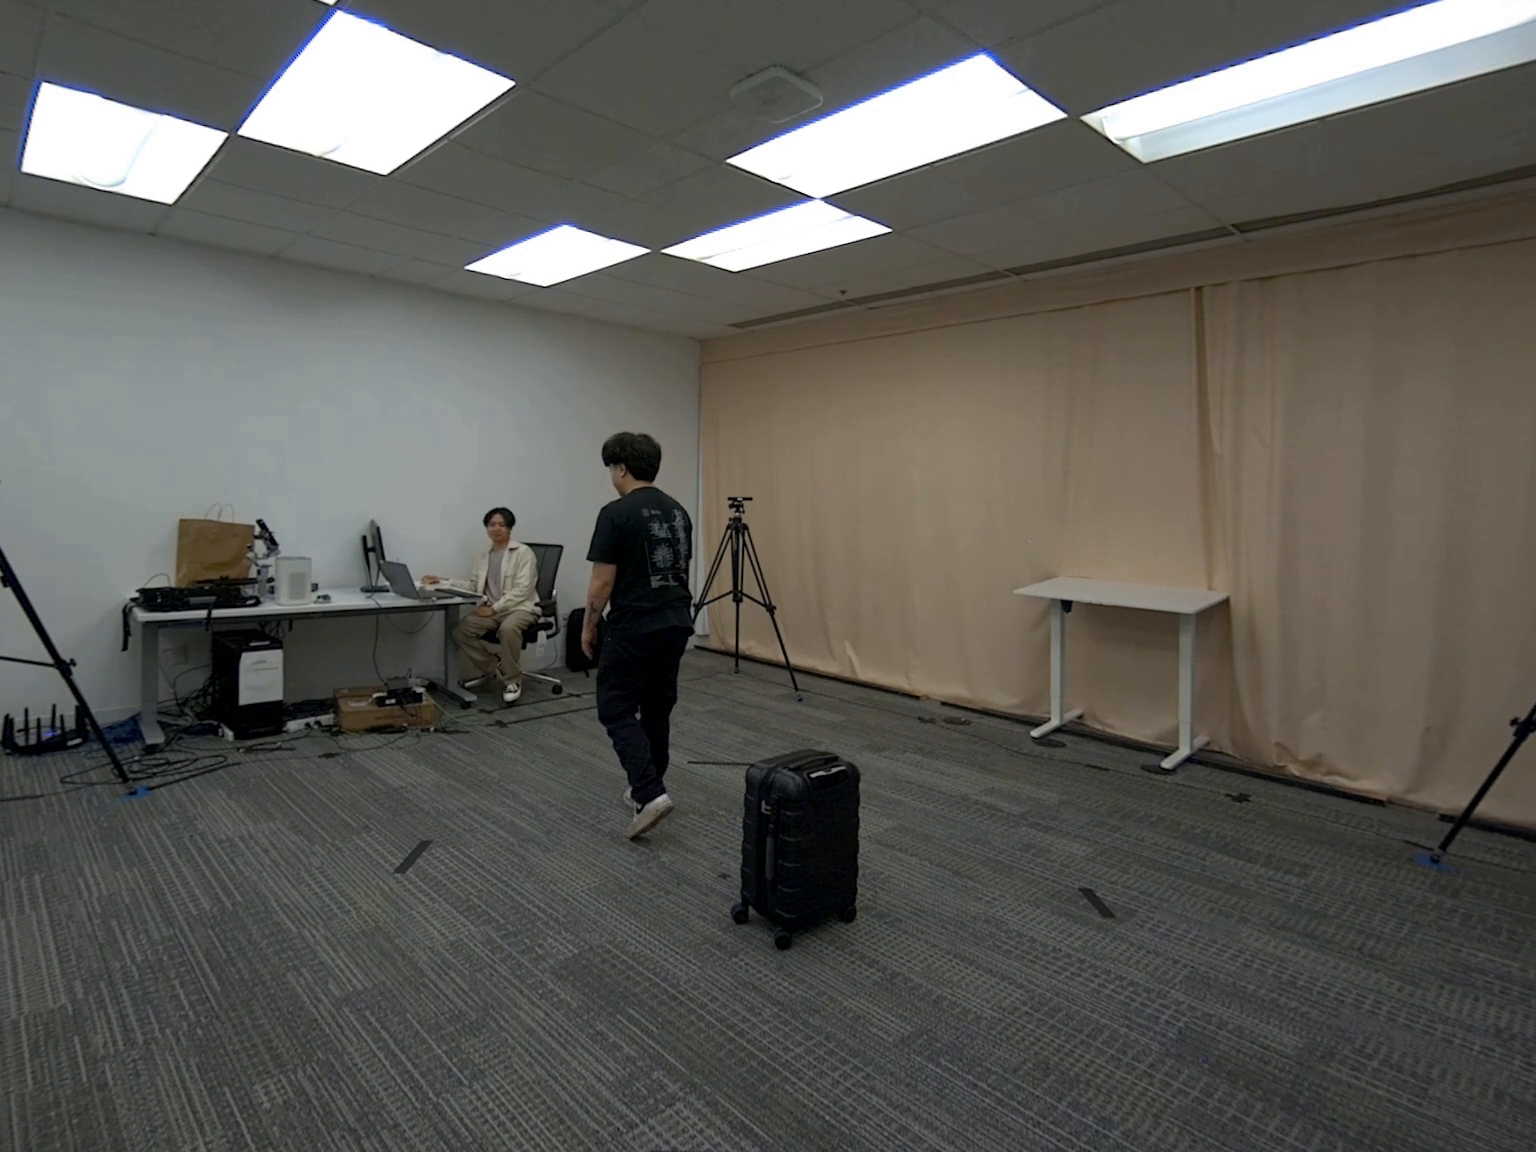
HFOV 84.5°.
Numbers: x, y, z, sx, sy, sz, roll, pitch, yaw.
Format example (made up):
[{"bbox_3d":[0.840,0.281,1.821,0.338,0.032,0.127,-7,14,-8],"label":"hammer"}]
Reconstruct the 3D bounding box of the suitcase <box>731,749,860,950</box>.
[{"bbox_3d":[0.101,0.866,2.773,0.367,0.548,0.254,-1,4,-41],"label":"suitcase"}]
